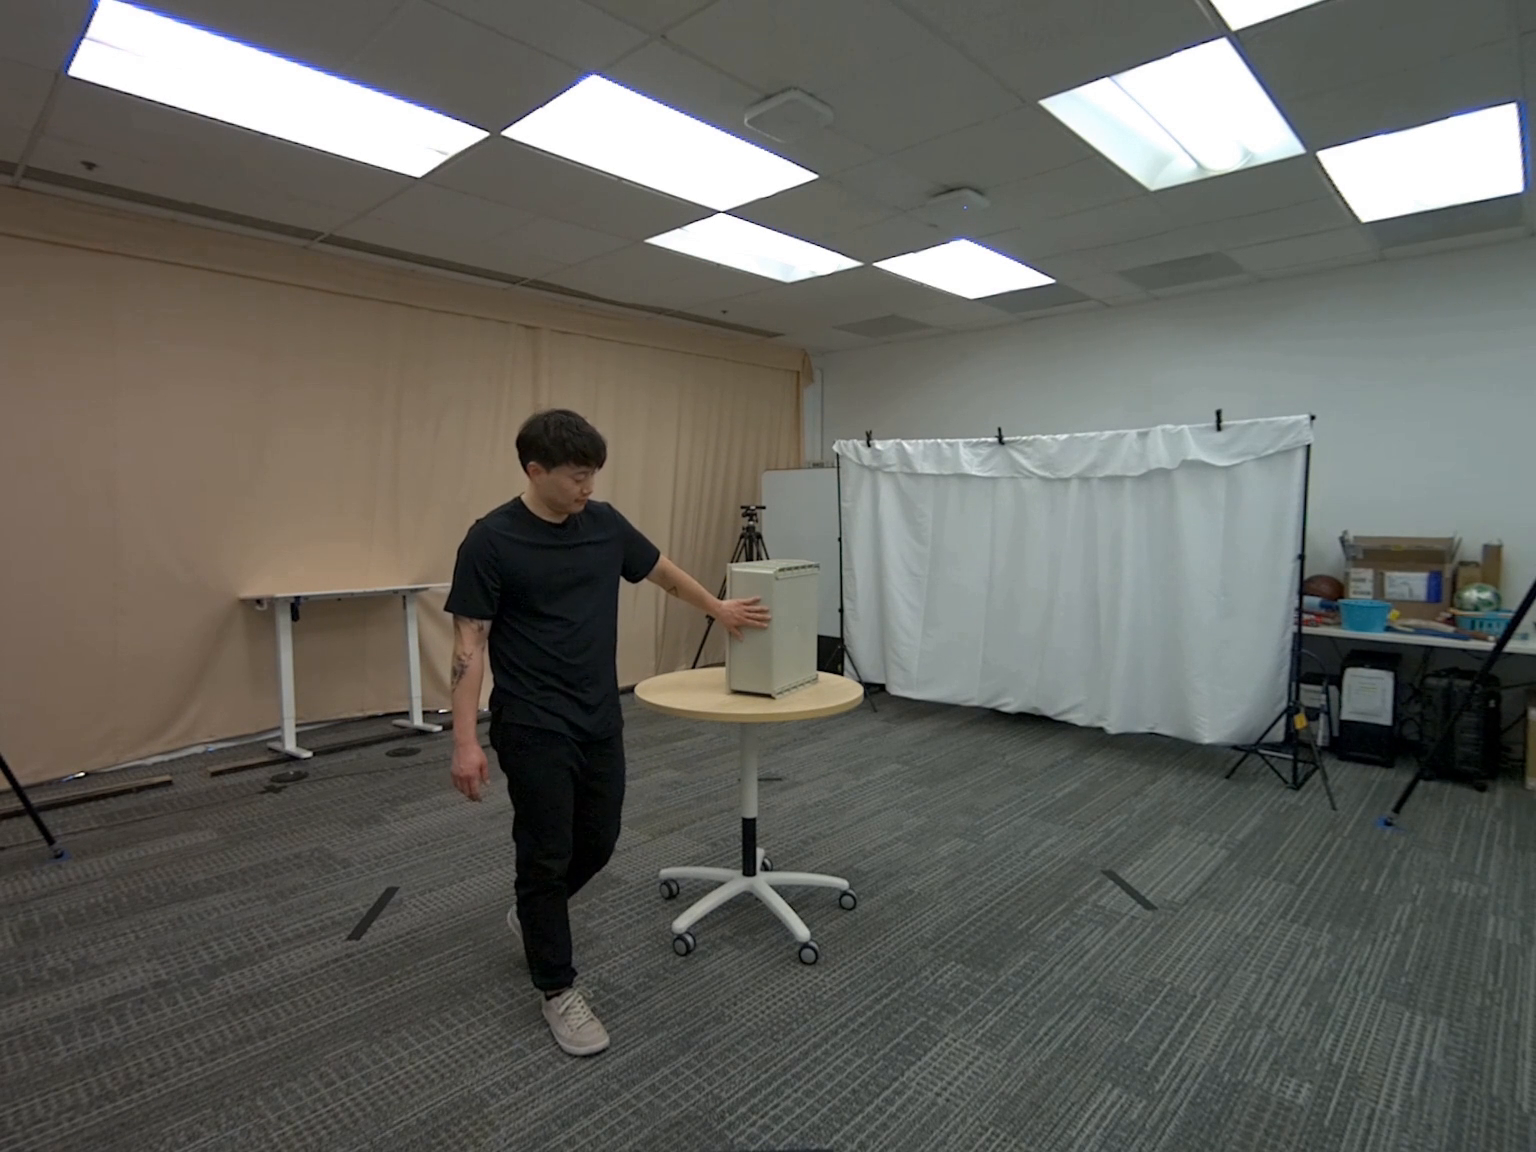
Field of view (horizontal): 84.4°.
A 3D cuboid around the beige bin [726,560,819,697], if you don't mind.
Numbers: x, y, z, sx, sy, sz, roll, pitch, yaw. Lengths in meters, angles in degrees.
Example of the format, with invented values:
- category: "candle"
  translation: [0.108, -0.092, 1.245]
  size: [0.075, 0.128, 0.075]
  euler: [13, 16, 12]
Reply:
- category: "beige bin"
  translation: [0.038, 0.166, 2.808]
  size: [0.194, 0.421, 0.367]
  euler: [3, 3, 27]
